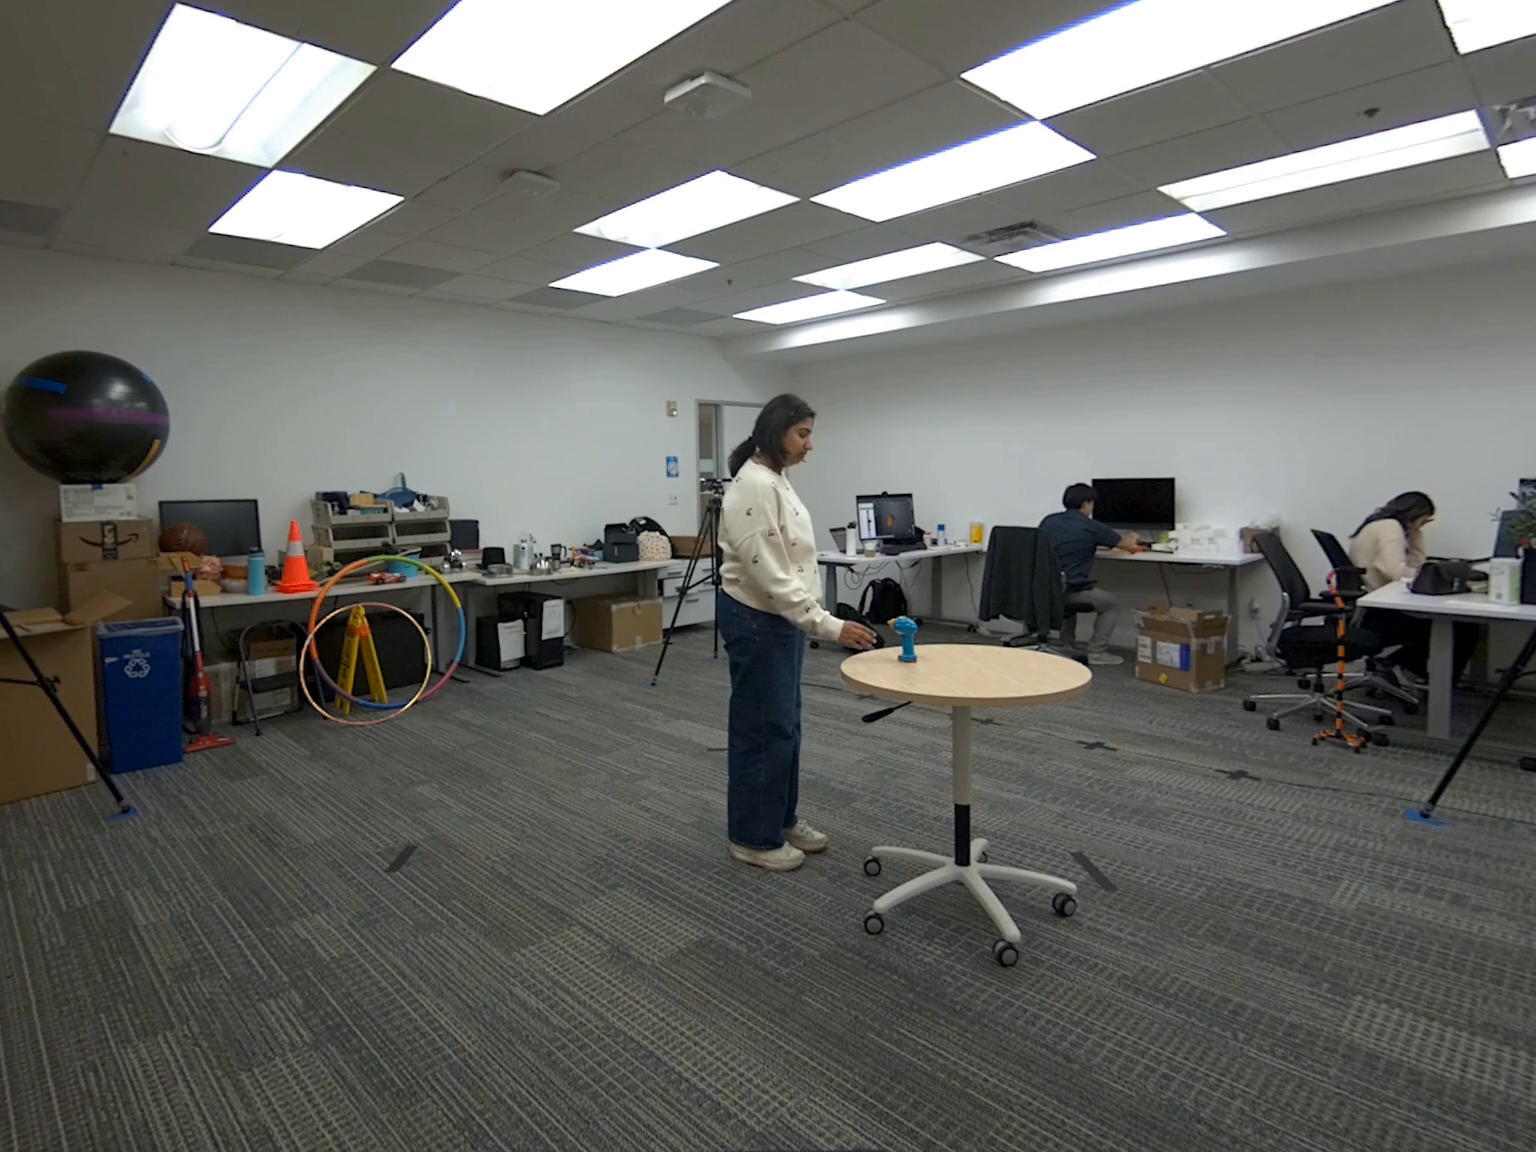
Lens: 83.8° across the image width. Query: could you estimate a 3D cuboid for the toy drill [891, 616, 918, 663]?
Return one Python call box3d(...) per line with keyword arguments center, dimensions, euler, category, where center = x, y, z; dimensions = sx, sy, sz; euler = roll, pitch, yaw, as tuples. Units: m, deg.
box3d(center=(0.452, 0.205, 2.879), dimensions=(0.060, 0.145, 0.173), euler=(-4, 5, -22), category="toy drill")
